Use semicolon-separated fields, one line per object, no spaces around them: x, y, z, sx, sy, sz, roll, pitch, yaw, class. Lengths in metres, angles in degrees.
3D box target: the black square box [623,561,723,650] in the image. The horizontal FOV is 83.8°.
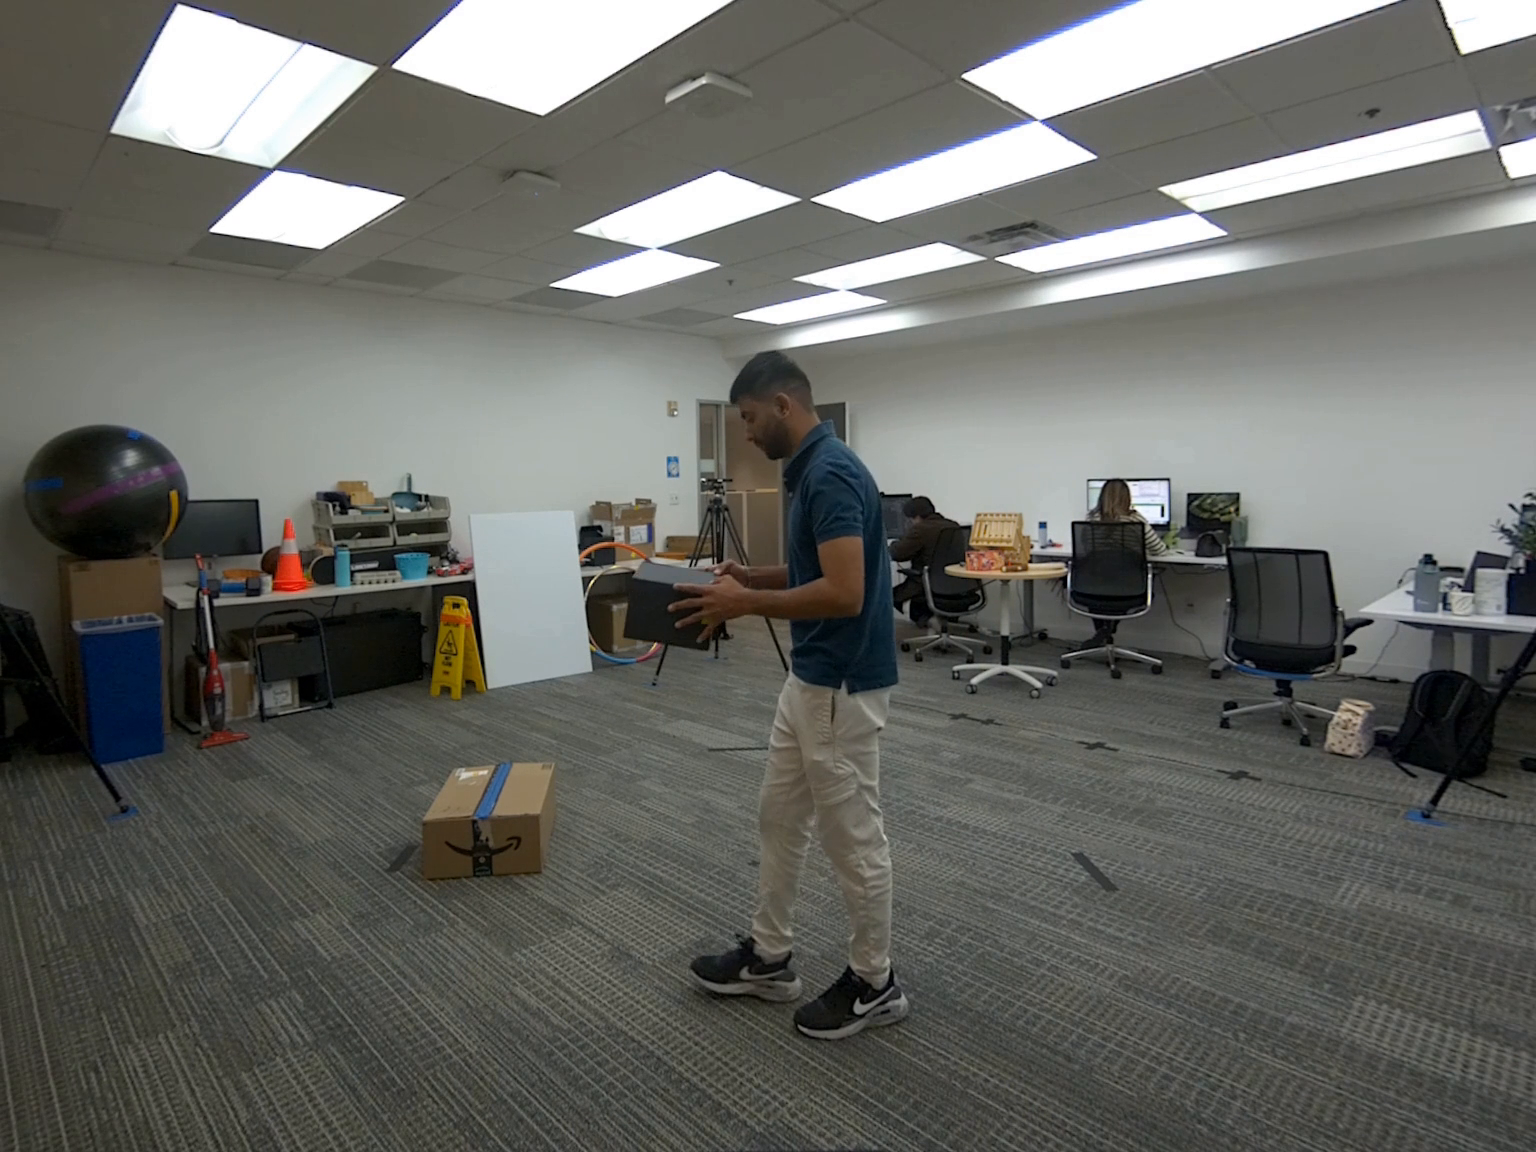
-0.248;0.080;2.205;0.217;0.155;0.229;8;11;1;black square box
